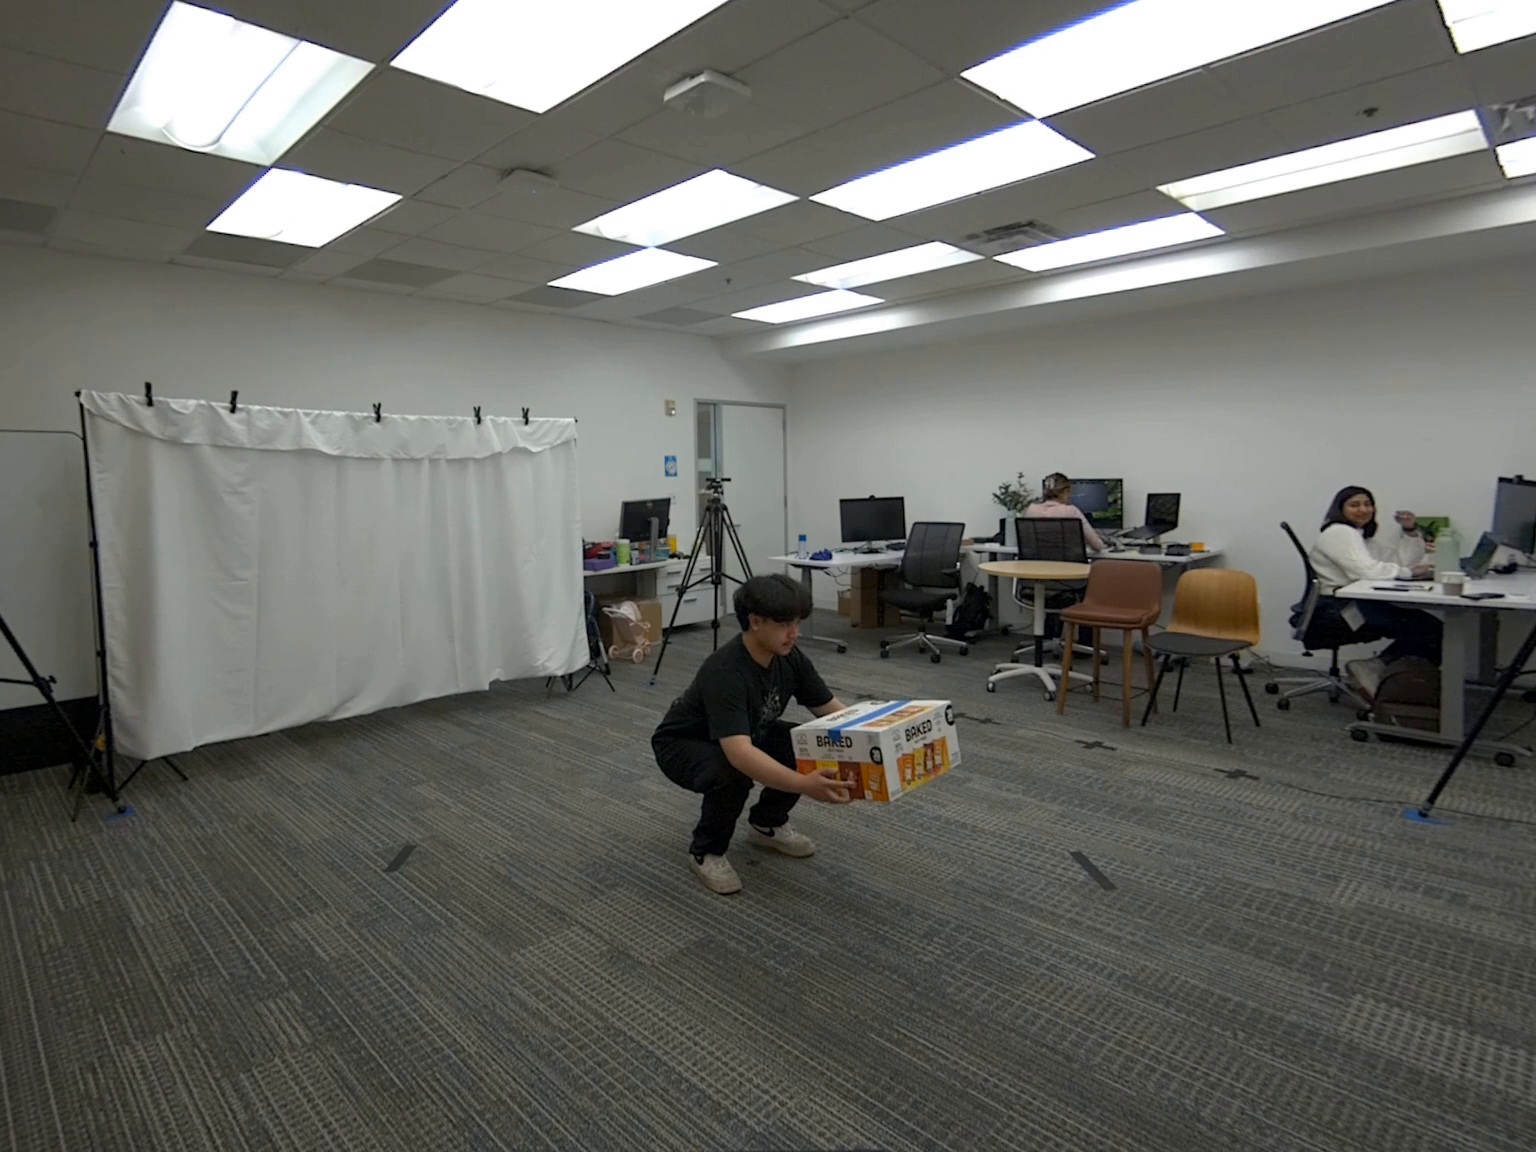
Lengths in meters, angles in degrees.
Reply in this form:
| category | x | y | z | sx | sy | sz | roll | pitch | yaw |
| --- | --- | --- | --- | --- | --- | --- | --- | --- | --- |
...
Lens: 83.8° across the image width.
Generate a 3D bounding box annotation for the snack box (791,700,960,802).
| category | x | y | z | sx | sy | sz | roll | pitch | yaw |
| --- | --- | --- | --- | --- | --- | --- | --- | --- | --- |
| snack box | 0.342 | 0.535 | 2.685 | 0.348 | 0.206 | 0.395 | -9 | 0 | 44 |
